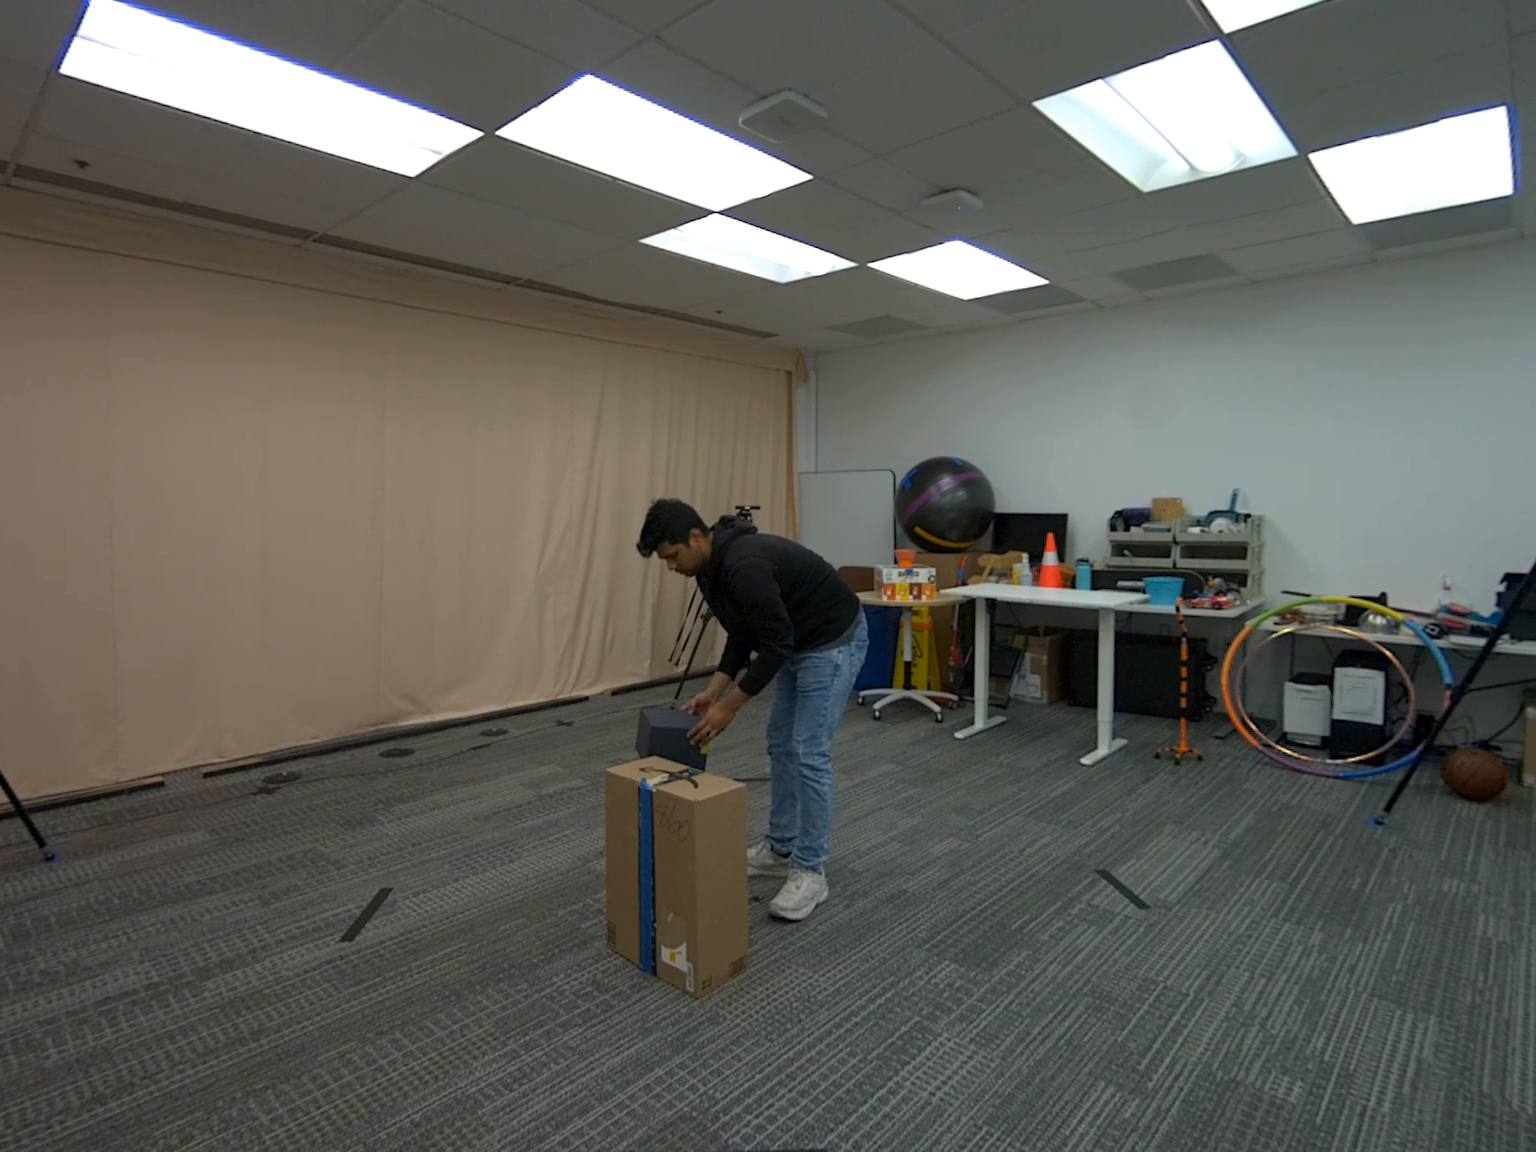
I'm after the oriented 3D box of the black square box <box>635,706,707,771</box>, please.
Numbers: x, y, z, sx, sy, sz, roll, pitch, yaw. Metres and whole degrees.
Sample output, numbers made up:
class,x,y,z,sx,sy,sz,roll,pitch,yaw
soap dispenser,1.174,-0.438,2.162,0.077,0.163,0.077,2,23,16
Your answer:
class,x,y,z,sx,sy,sz,roll,pitch,yaw
black square box,-0.337,0.595,3.000,0.213,0.155,0.232,6,5,-16
